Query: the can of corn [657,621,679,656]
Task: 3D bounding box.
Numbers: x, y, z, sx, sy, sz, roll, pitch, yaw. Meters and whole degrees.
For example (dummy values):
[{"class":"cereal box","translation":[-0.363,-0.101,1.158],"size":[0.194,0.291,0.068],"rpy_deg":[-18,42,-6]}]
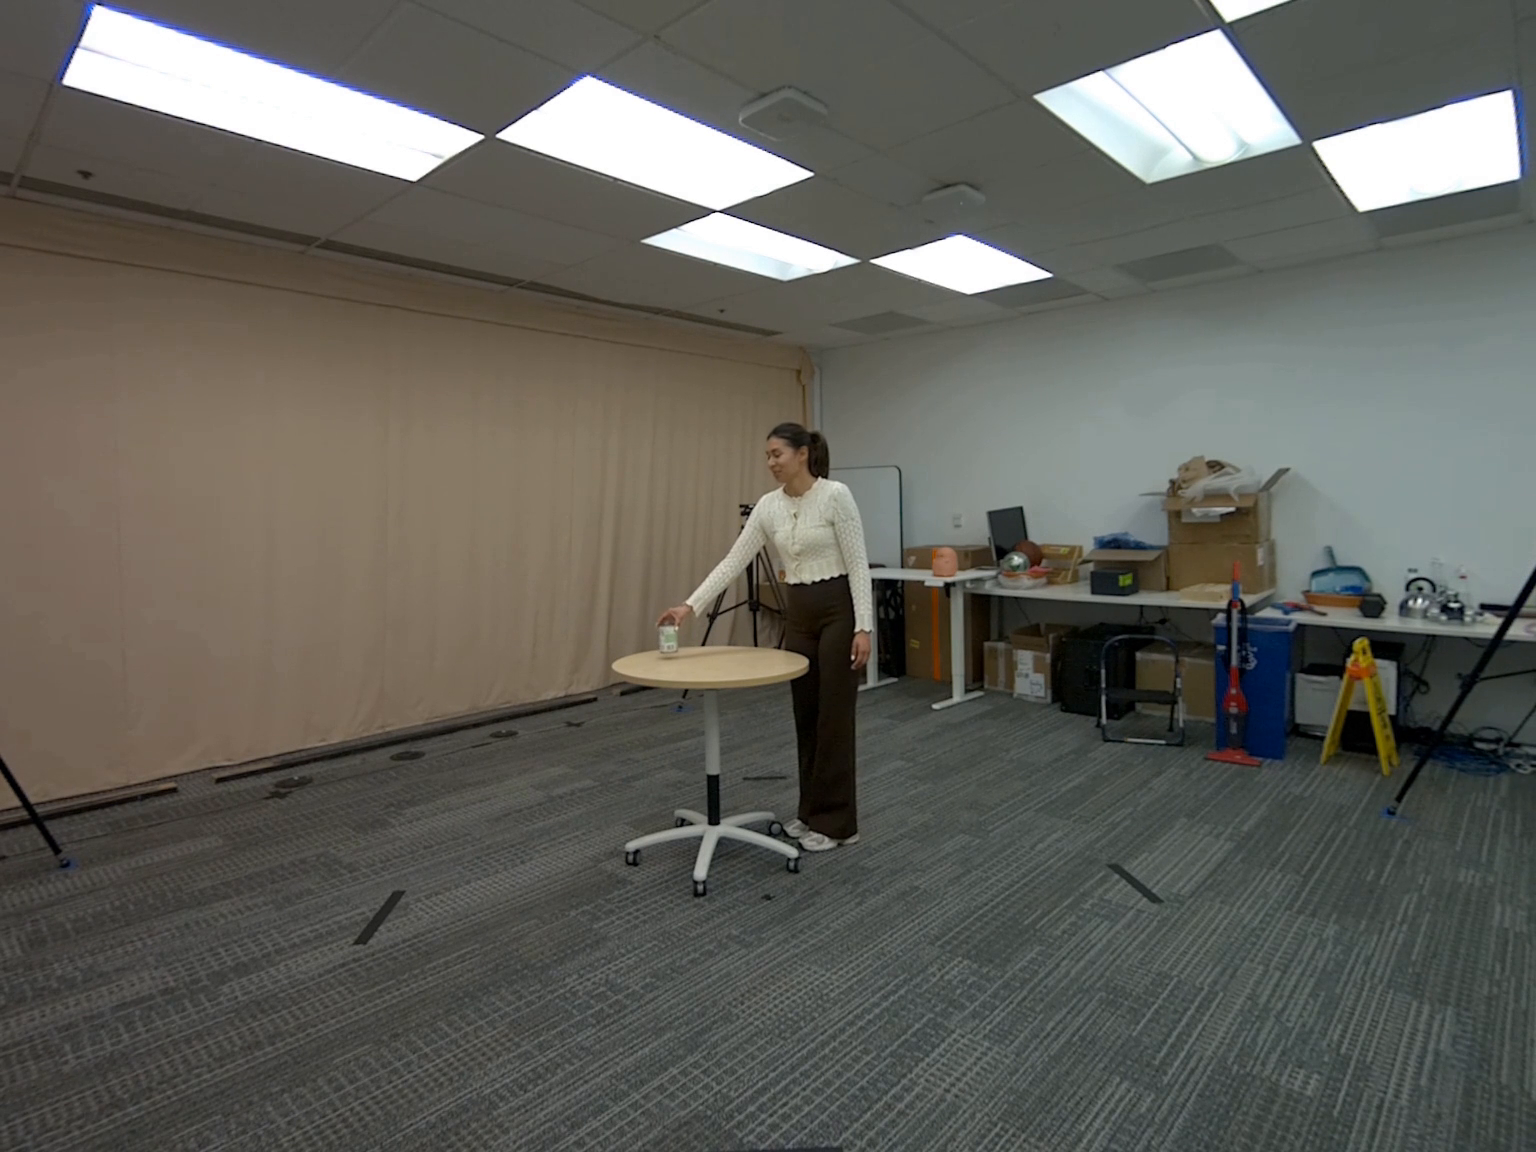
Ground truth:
[{"class":"can of corn","translation":[-0.390,0.254,3.383],"size":[0.074,0.111,0.074],"rpy_deg":[-5,1,-2]}]
